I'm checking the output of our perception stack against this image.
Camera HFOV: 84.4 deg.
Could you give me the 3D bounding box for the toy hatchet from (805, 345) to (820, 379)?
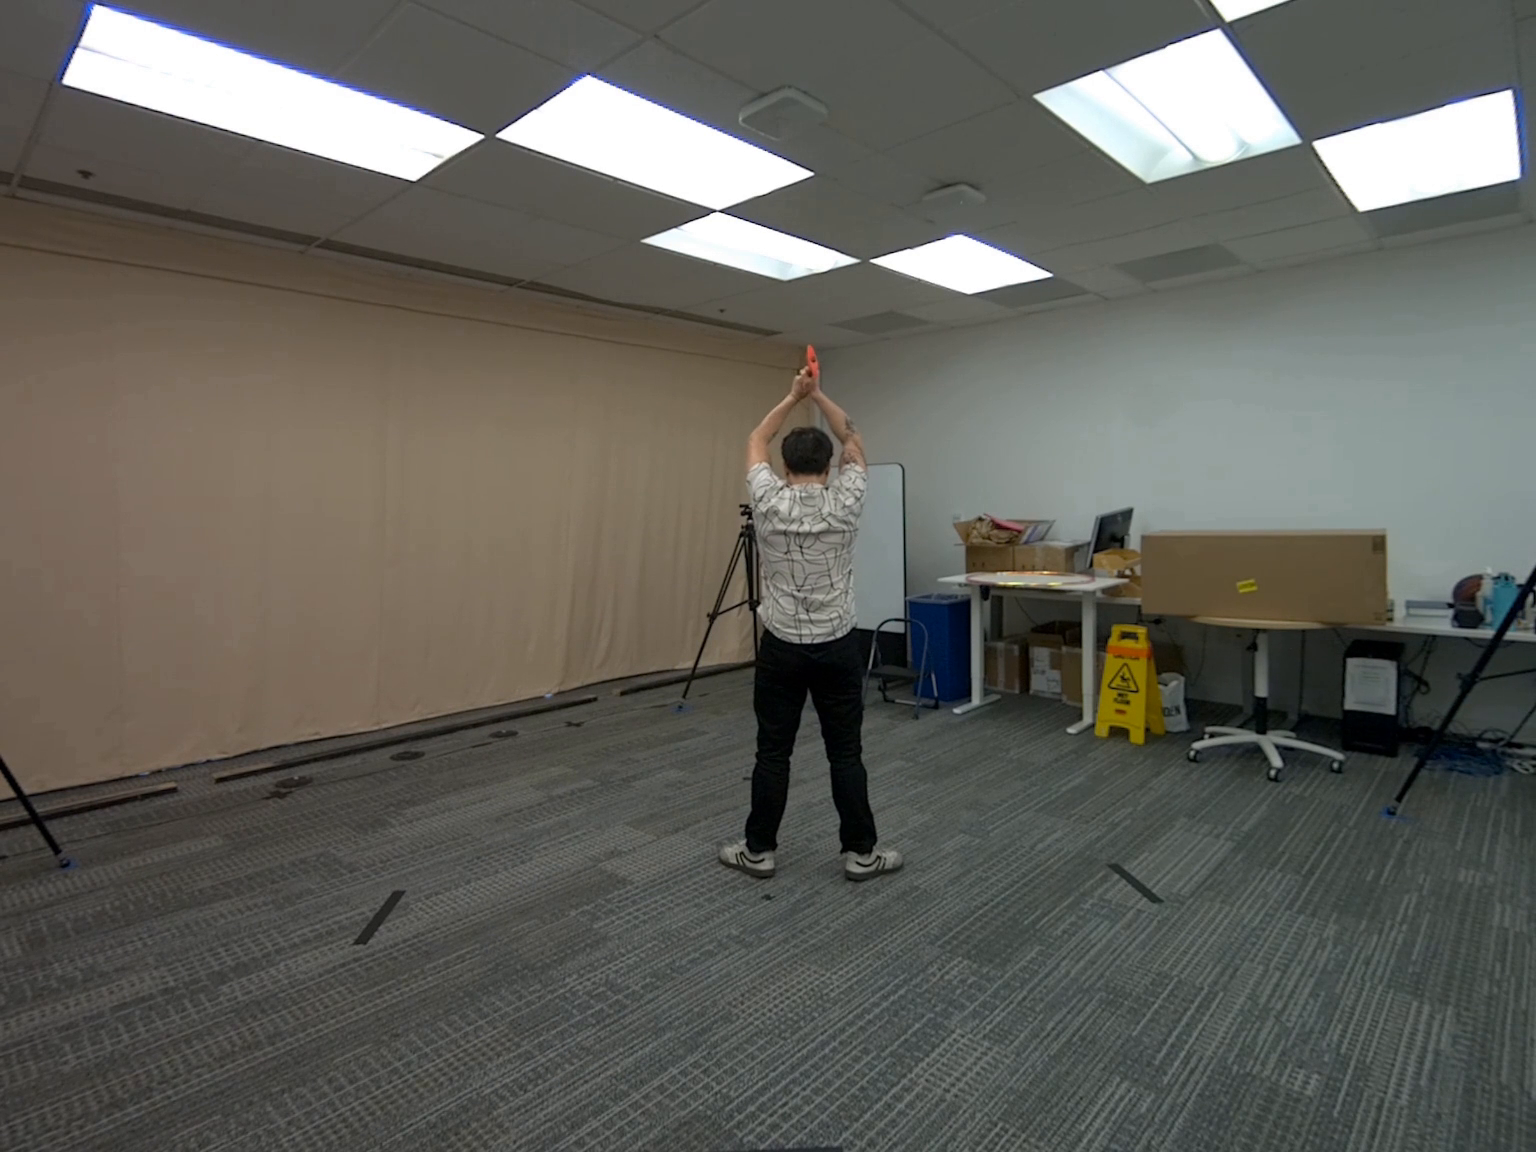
[{"bbox_3d":[0.157,-0.783,3.177,0.029,0.131,0.272,-7,4,-7],"label":"toy hatchet"}]
